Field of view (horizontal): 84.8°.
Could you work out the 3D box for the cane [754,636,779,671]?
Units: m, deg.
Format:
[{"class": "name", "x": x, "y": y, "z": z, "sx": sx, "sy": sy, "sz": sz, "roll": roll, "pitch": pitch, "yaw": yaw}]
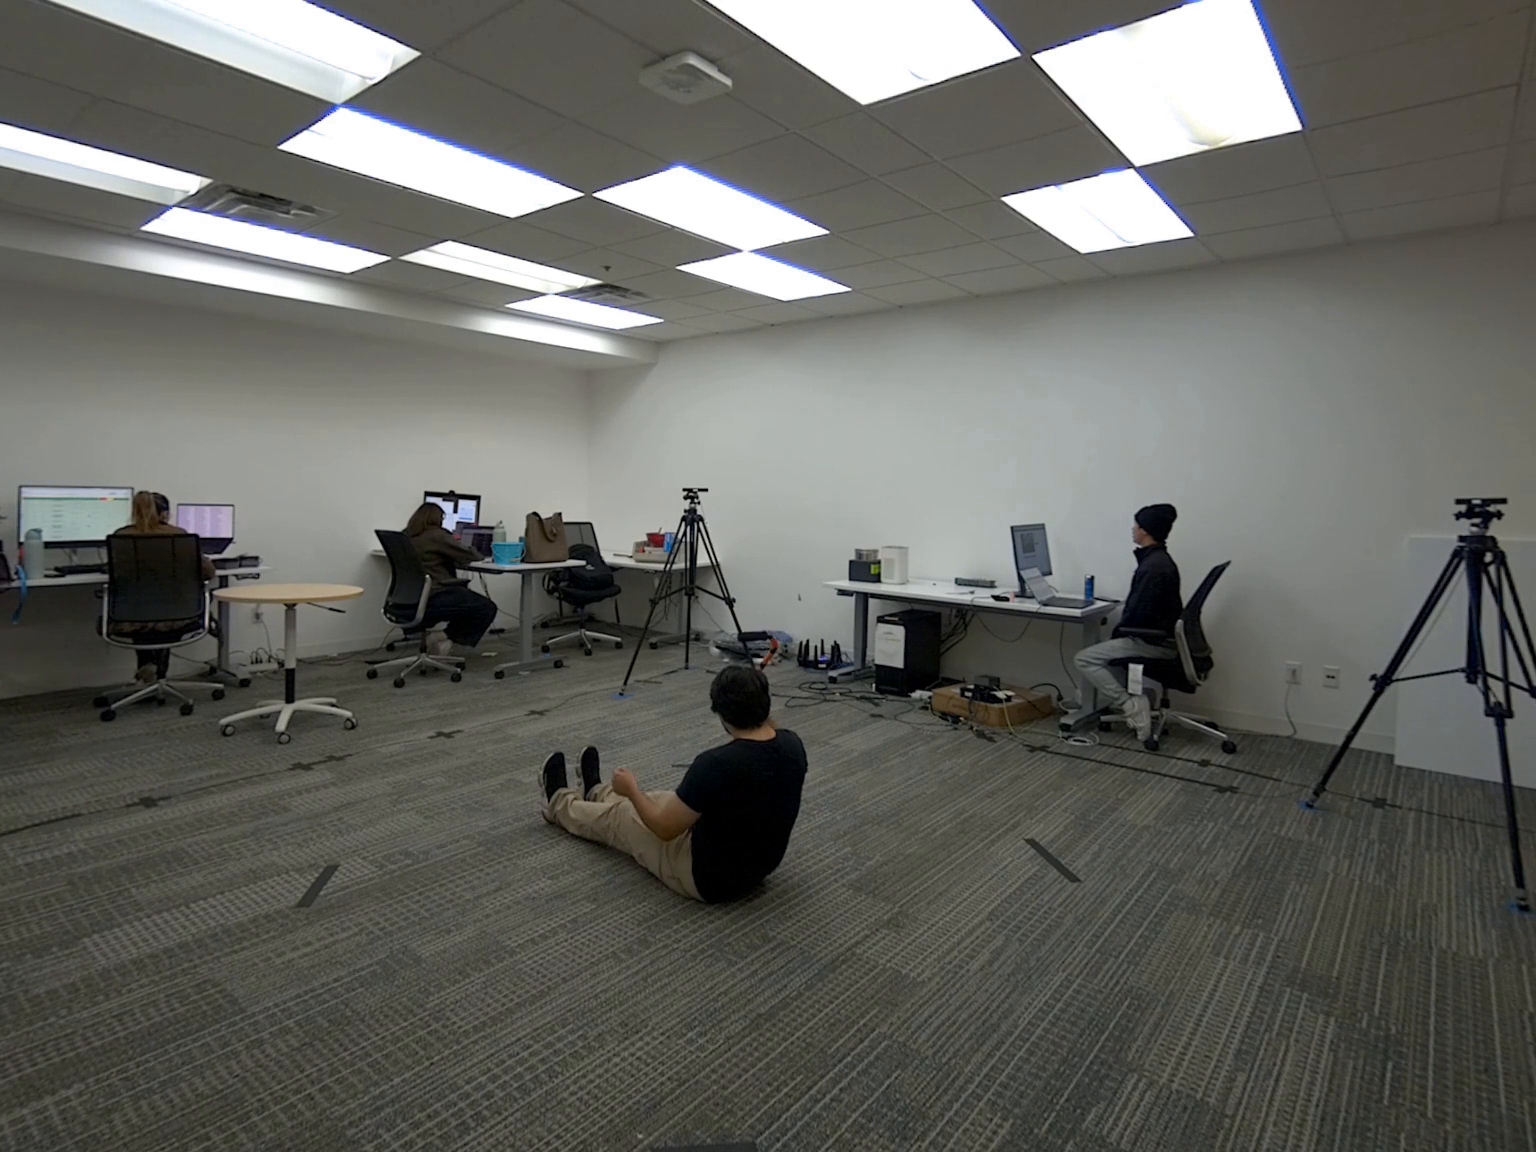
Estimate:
[{"class": "cane", "x": -0.103, "y": 0.598, "z": 3.317, "sx": 0.202, "sy": 0.892, "sz": 0.158, "roll": -2, "pitch": 28, "yaw": -24}]
